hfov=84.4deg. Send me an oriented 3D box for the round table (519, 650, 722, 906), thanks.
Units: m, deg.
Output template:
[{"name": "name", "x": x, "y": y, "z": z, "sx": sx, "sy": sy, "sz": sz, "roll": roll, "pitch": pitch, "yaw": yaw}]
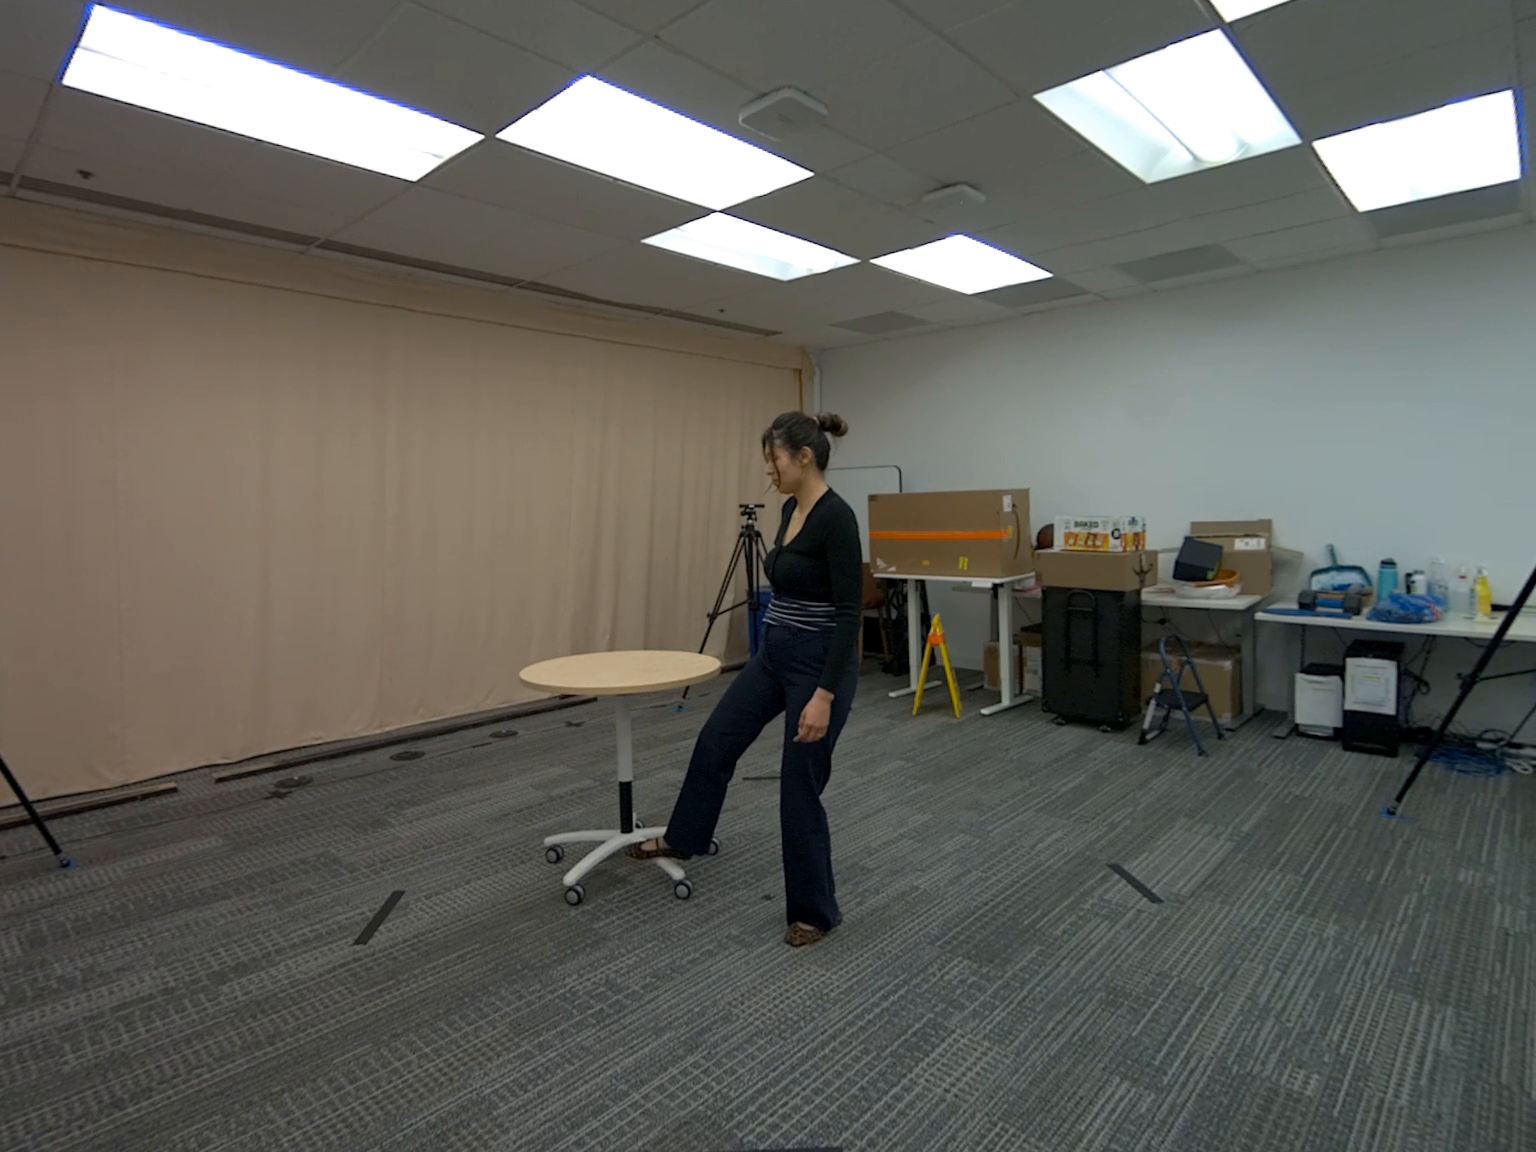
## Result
[{"name": "round table", "x": -0.542, "y": 0.742, "z": 3.236, "sx": 0.763, "sy": 0.792, "sz": 0.766, "roll": -2, "pitch": 3, "yaw": -2}]
